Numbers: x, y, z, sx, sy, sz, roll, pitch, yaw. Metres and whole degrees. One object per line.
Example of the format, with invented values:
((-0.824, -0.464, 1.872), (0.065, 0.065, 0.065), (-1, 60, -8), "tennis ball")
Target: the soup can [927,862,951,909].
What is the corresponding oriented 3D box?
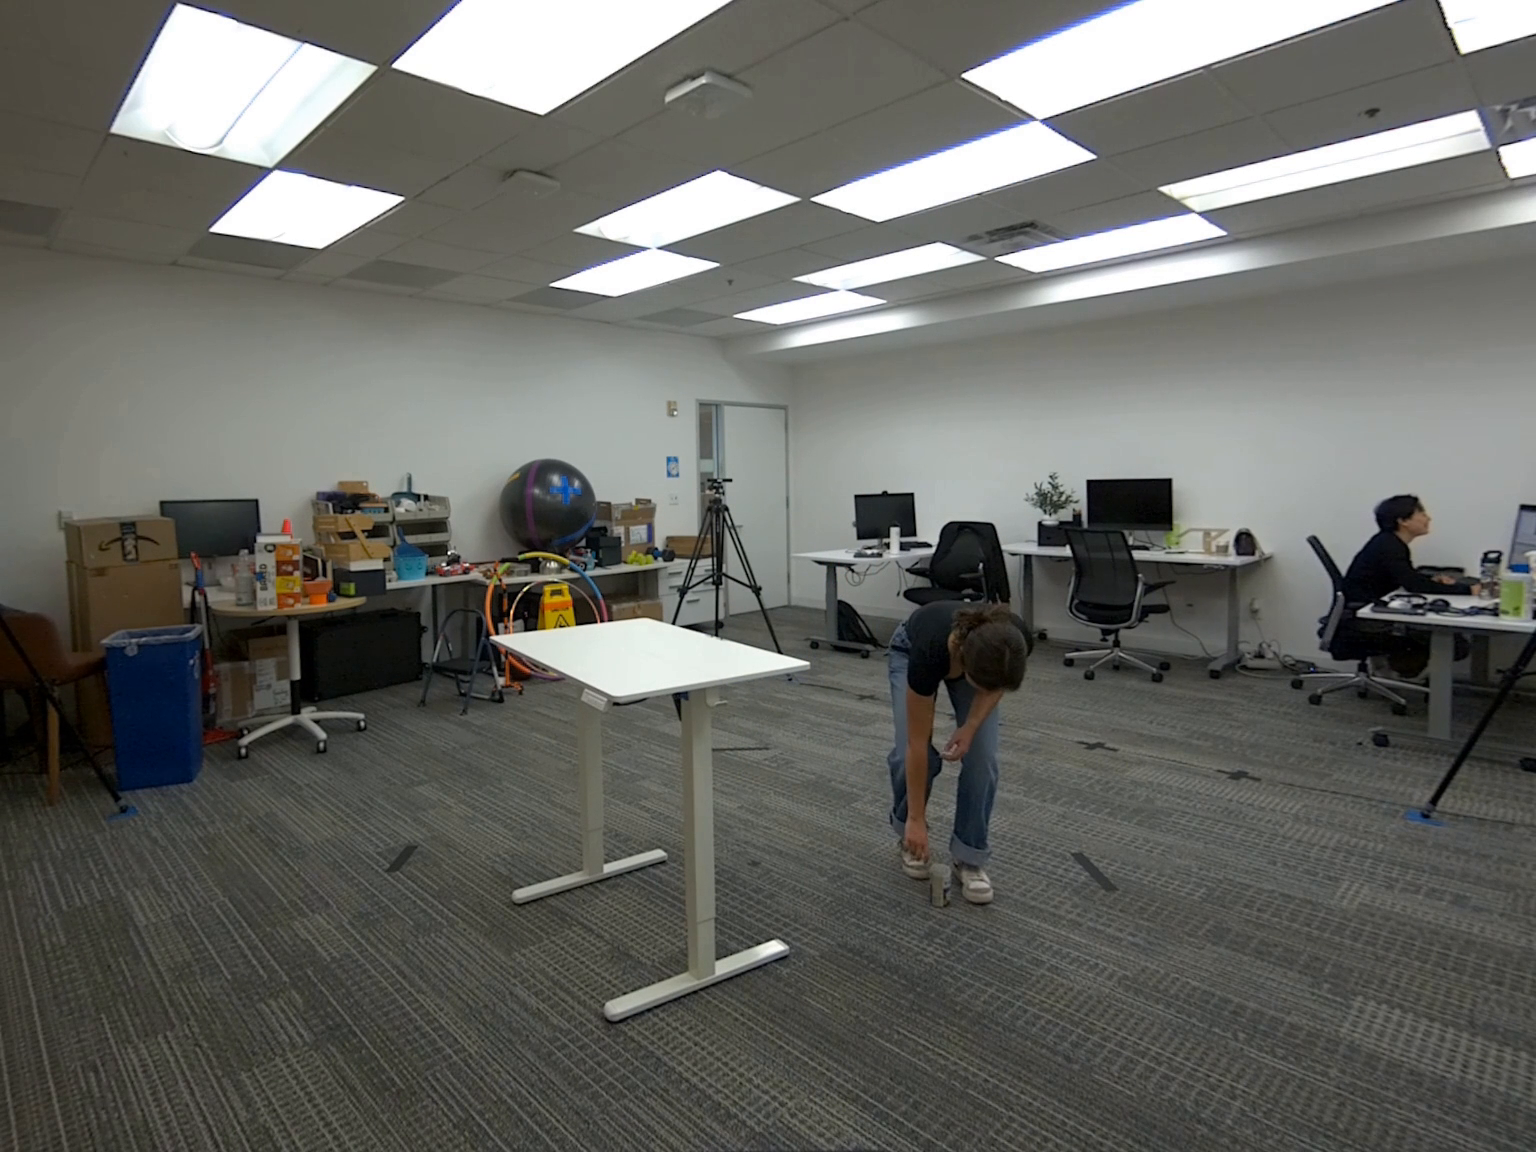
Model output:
((0.553, 1.013, 2.782), (0.067, 0.121, 0.067), (-4, 3, -1), "soup can")
